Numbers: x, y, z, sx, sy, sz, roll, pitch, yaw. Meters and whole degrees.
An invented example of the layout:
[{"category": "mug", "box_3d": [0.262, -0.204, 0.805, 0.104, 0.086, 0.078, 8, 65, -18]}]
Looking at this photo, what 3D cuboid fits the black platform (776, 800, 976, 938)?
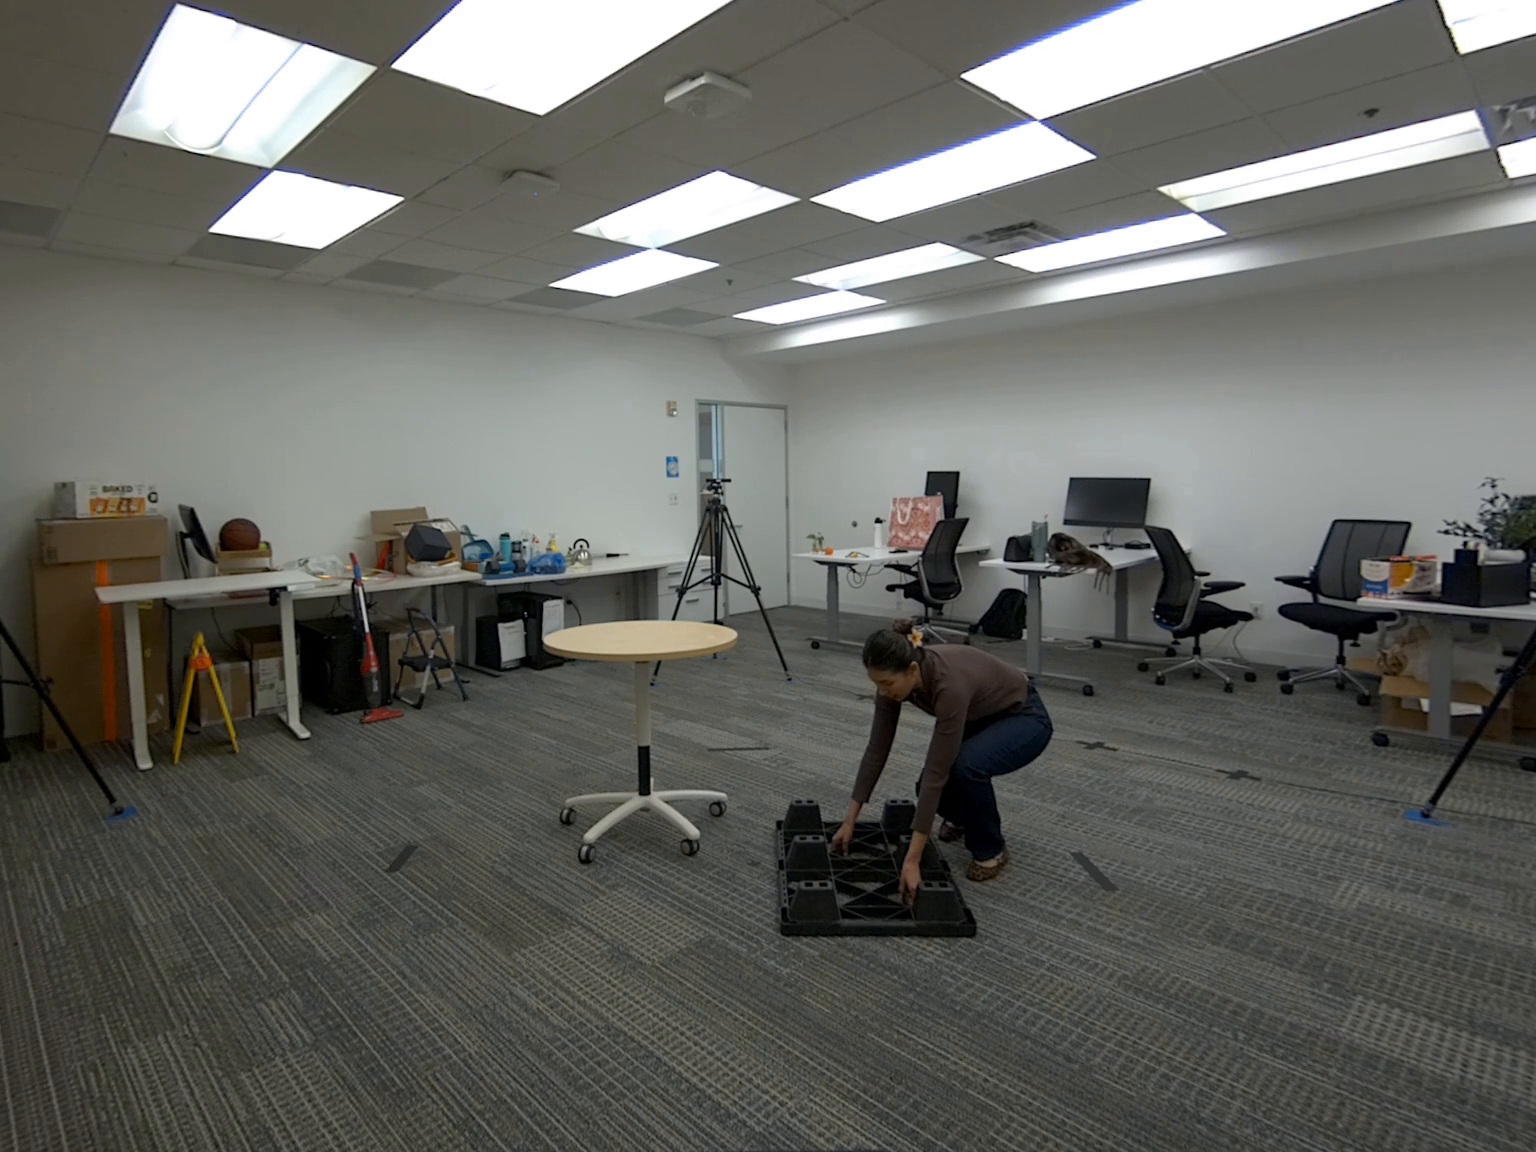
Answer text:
[{"category": "black platform", "box_3d": [0.336, 0.984, 2.981, 0.606, 0.142, 0.809, -1, 6, 0]}]
